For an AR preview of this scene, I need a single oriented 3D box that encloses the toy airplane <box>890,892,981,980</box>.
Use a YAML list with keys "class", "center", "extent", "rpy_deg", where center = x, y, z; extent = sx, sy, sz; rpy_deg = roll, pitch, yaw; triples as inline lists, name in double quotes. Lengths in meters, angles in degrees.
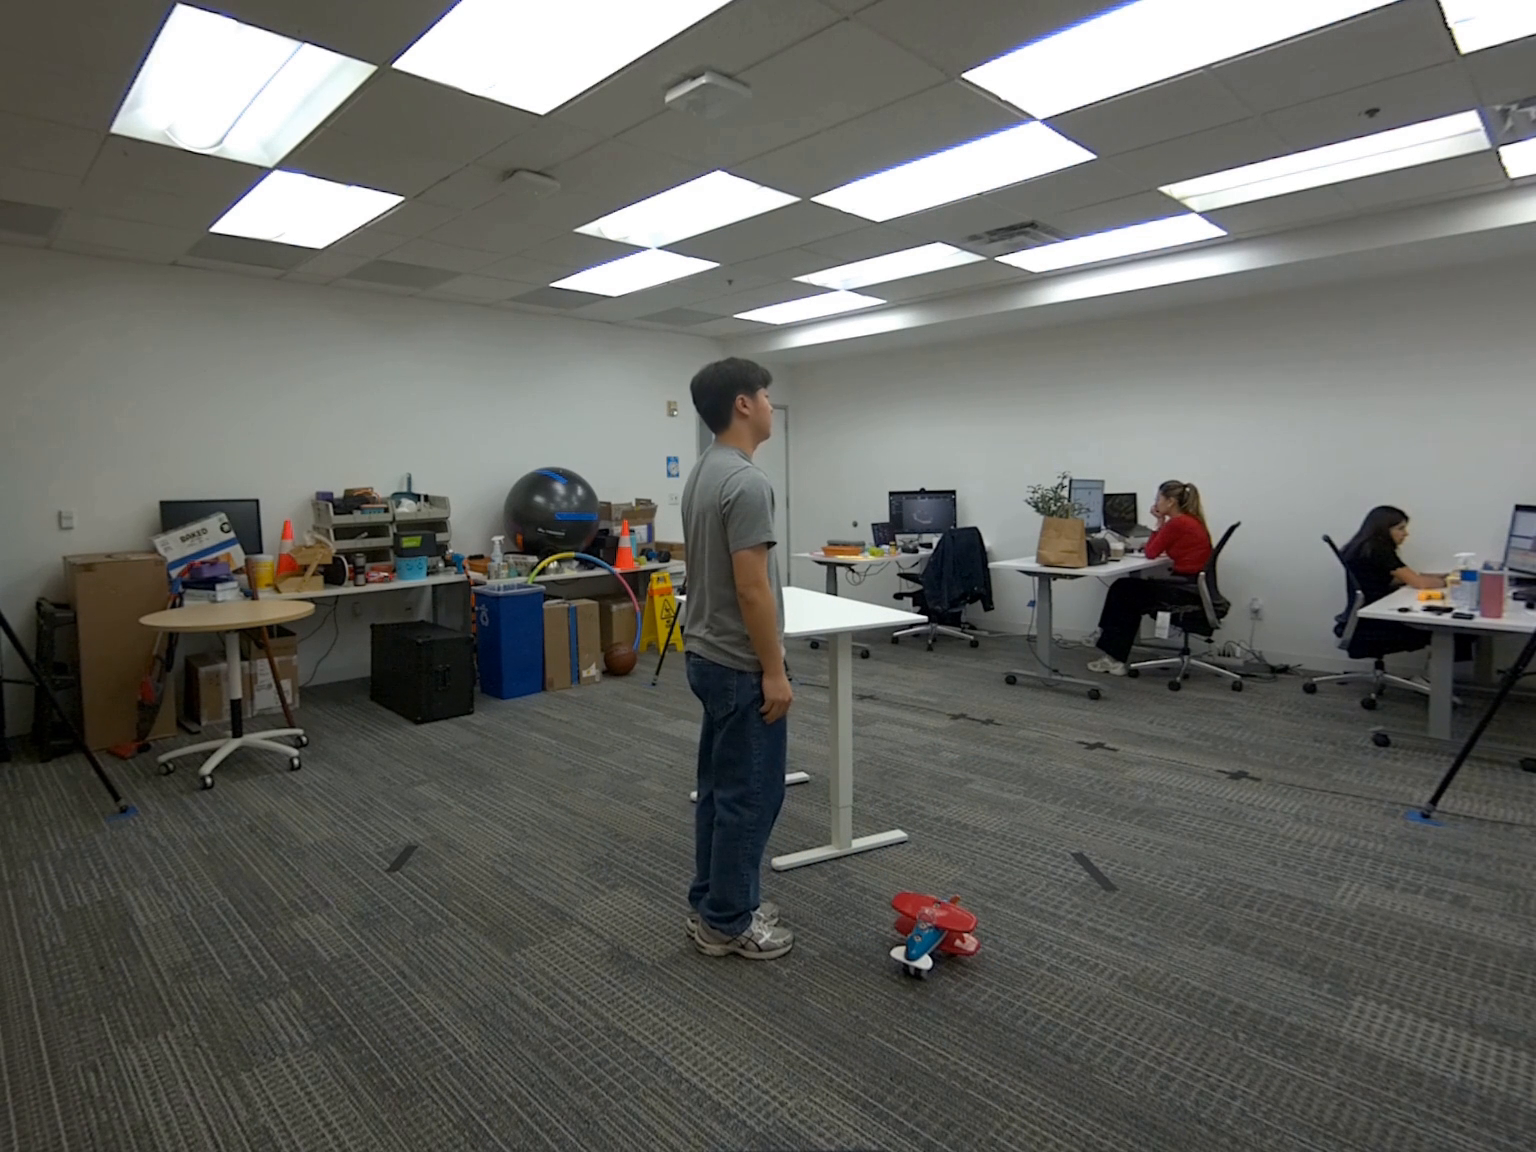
- class: "toy airplane"
  center: [0.472, 1.033, 2.450]
  extent: [0.254, 0.156, 0.257]
  rpy_deg: [0, 4, 9]
